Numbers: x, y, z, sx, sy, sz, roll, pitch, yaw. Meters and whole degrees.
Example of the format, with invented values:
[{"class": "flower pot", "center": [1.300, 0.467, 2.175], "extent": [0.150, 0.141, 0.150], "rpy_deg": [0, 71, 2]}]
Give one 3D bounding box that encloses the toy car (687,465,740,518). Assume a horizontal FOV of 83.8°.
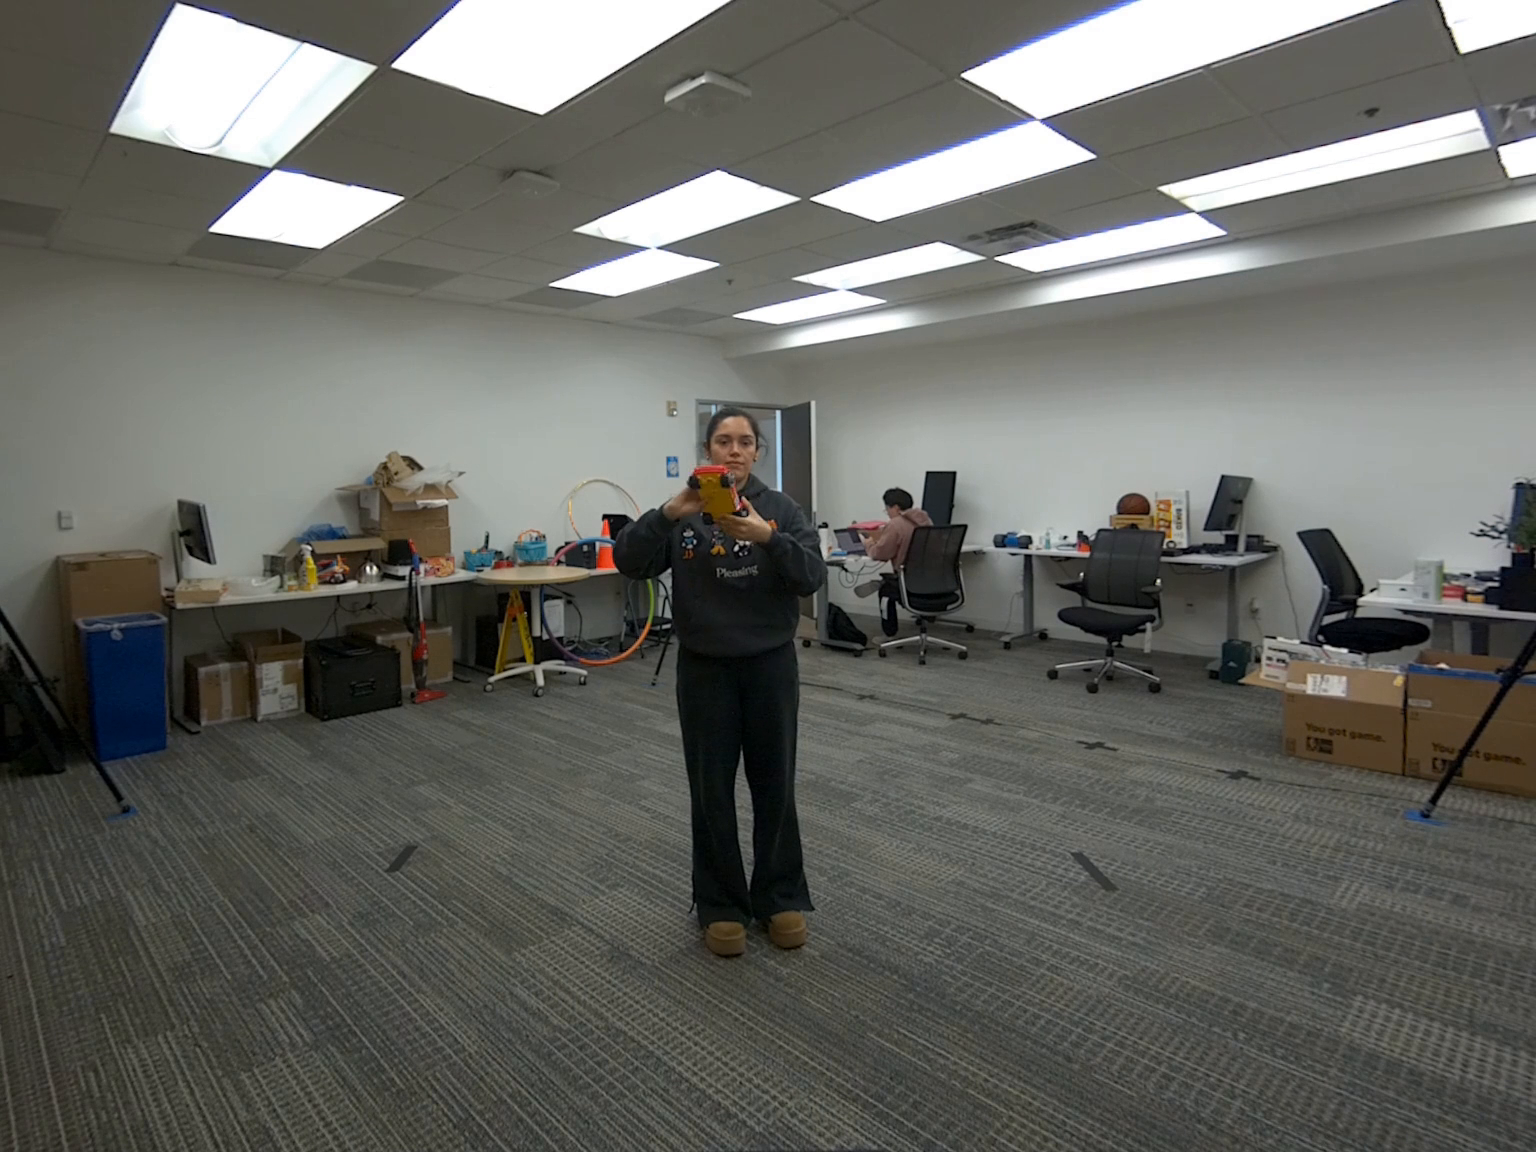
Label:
[{"class": "toy car", "center": [-0.131, -0.208, 2.321], "extent": [0.132, 0.085, 0.246], "rpy_deg": [-1, -27, 14]}]
